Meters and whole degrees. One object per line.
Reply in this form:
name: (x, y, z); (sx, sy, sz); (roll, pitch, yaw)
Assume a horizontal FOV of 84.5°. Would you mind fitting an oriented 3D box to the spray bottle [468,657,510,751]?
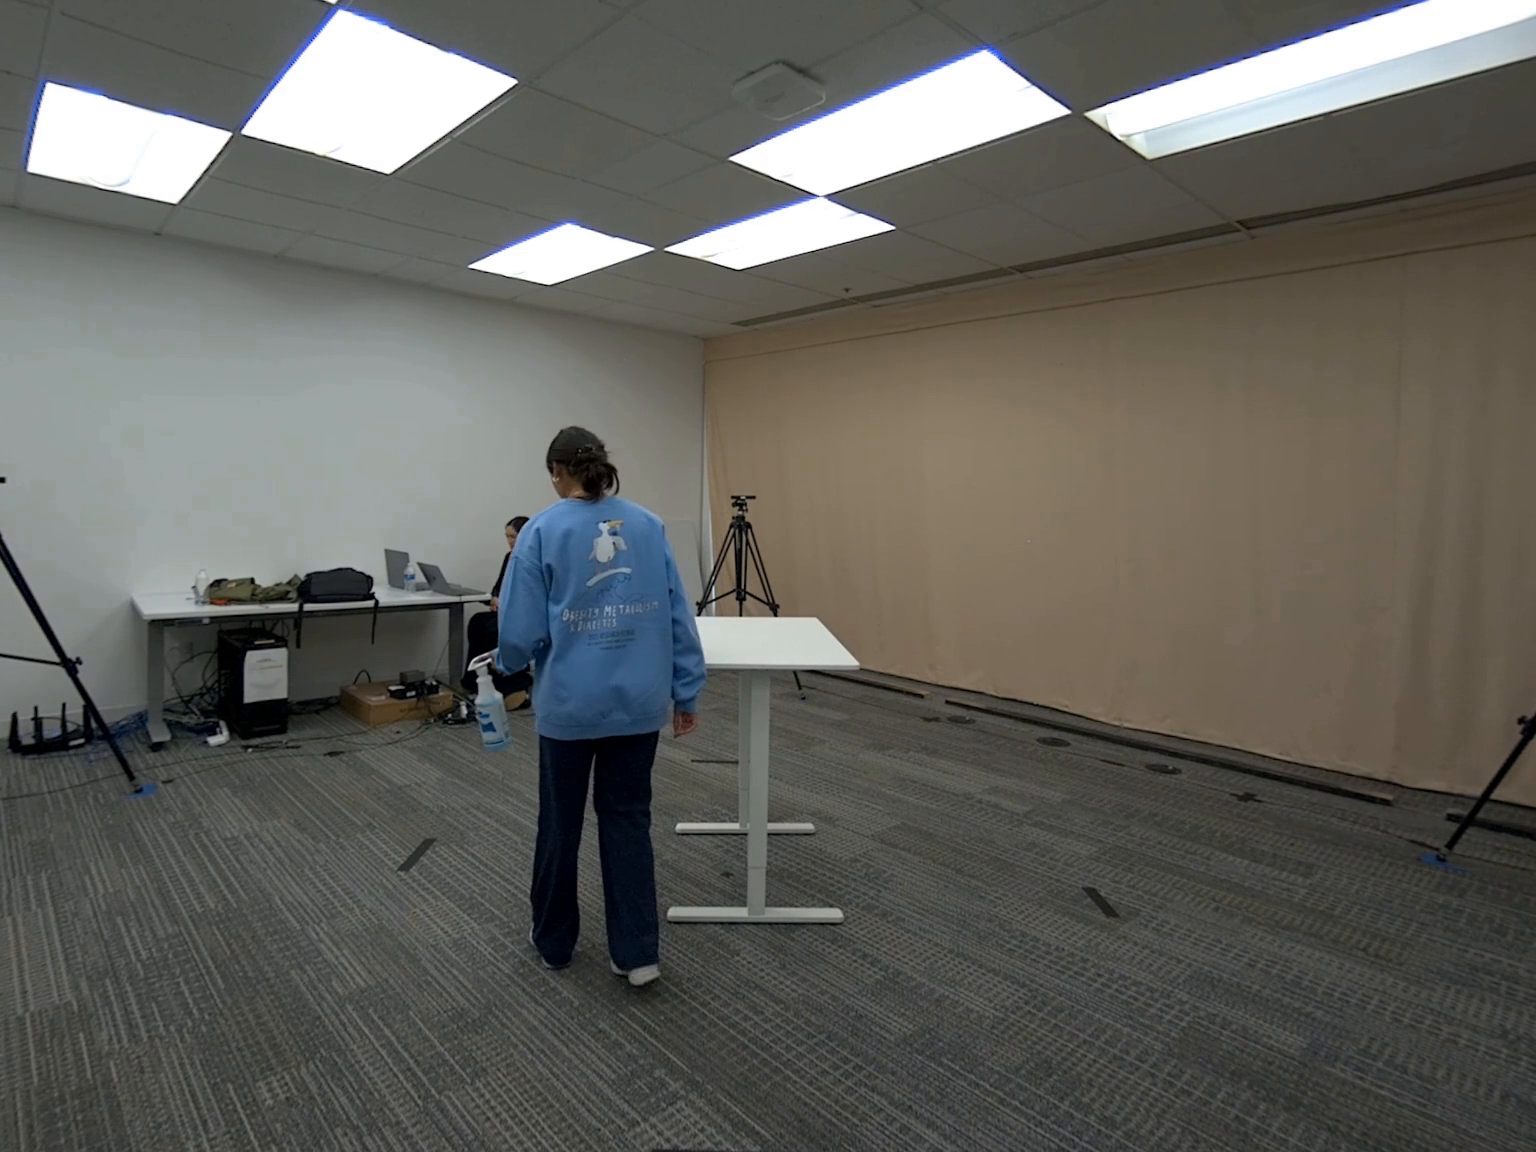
spray bottle: (-0.874, 0.395, 2.648); (0.089, 0.295, 0.088); (-9, 9, -10)
